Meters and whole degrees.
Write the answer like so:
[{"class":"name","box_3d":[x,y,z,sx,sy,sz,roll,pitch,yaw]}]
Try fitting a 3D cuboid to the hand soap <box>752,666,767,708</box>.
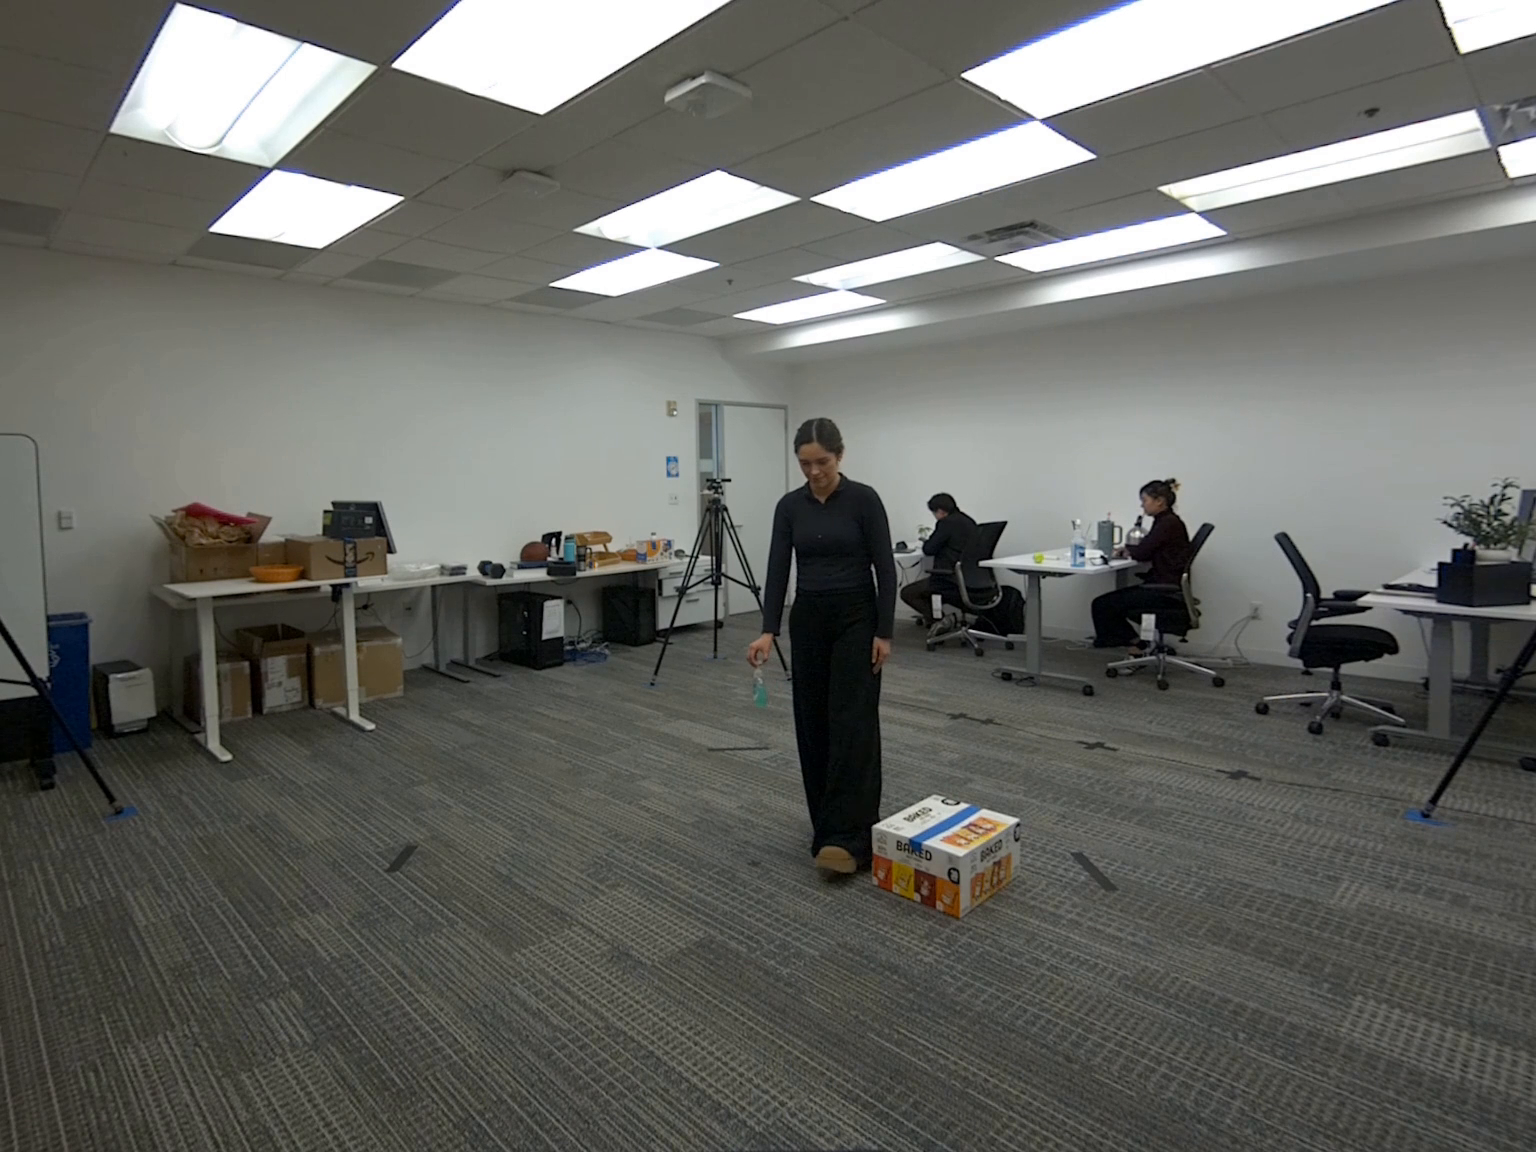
[{"class":"hand soap","box_3d":[-0.035,0.395,3.129,0.043,0.168,0.085,-2,3,-7]}]
